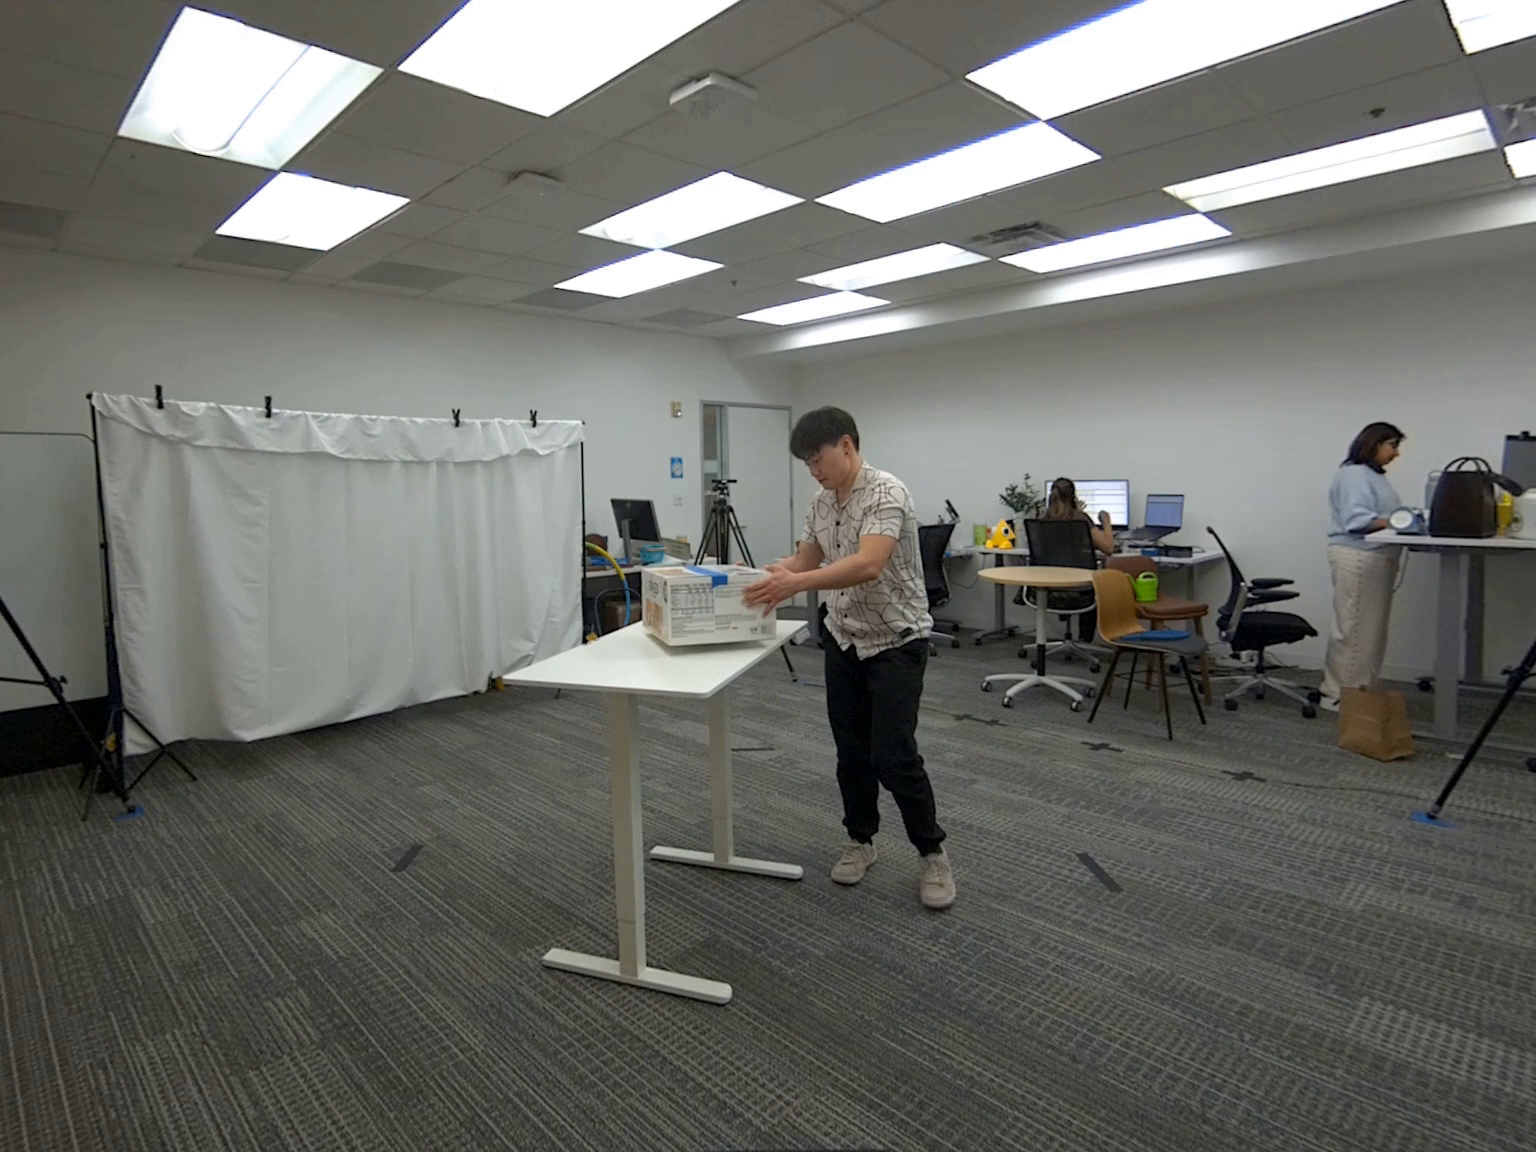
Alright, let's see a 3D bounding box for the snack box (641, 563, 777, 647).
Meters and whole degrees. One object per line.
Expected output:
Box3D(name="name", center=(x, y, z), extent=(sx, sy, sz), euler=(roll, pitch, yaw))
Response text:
Box3D(name="snack box", center=(-0.197, 0.083, 2.738), extent=(0.335, 0.205, 0.413), euler=(-2, 5, -18))
